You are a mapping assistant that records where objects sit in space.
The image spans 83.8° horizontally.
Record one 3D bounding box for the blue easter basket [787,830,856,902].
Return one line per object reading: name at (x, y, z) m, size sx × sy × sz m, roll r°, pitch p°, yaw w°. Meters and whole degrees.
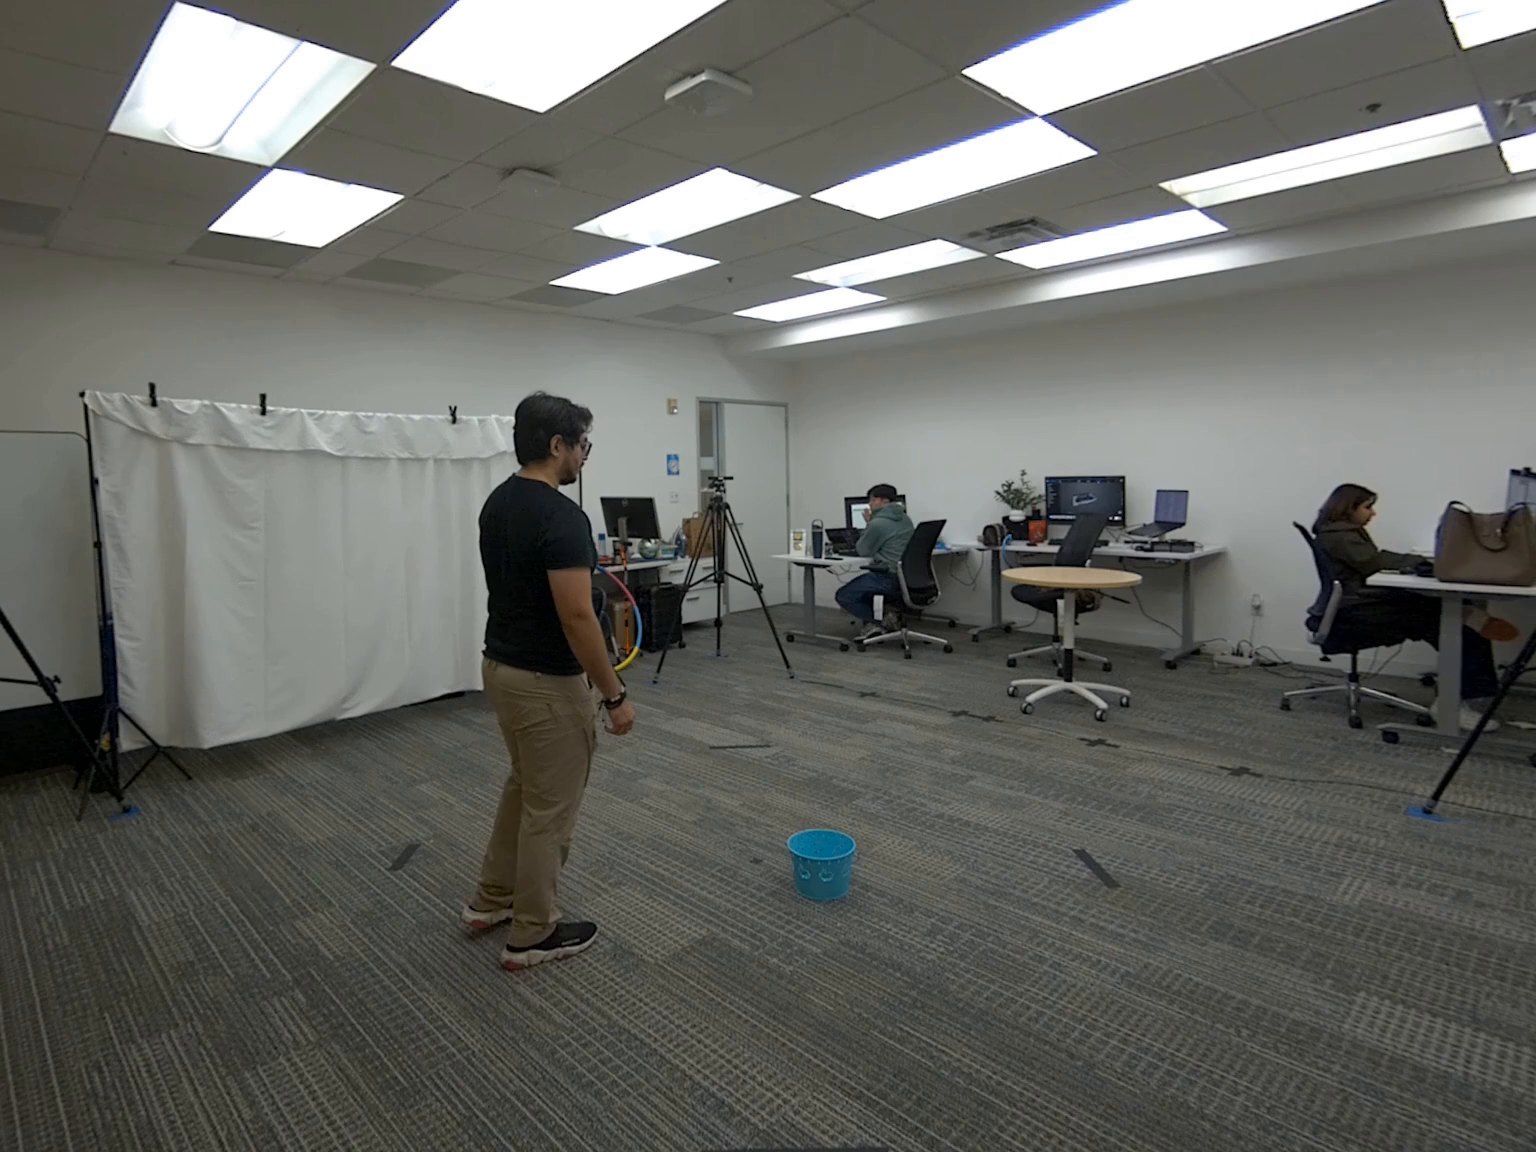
blue easter basket at (0.185, 0.978, 2.898) m, size 0.243 × 0.155 × 0.245 m, roll -2°, pitch 5°, yaw -2°
